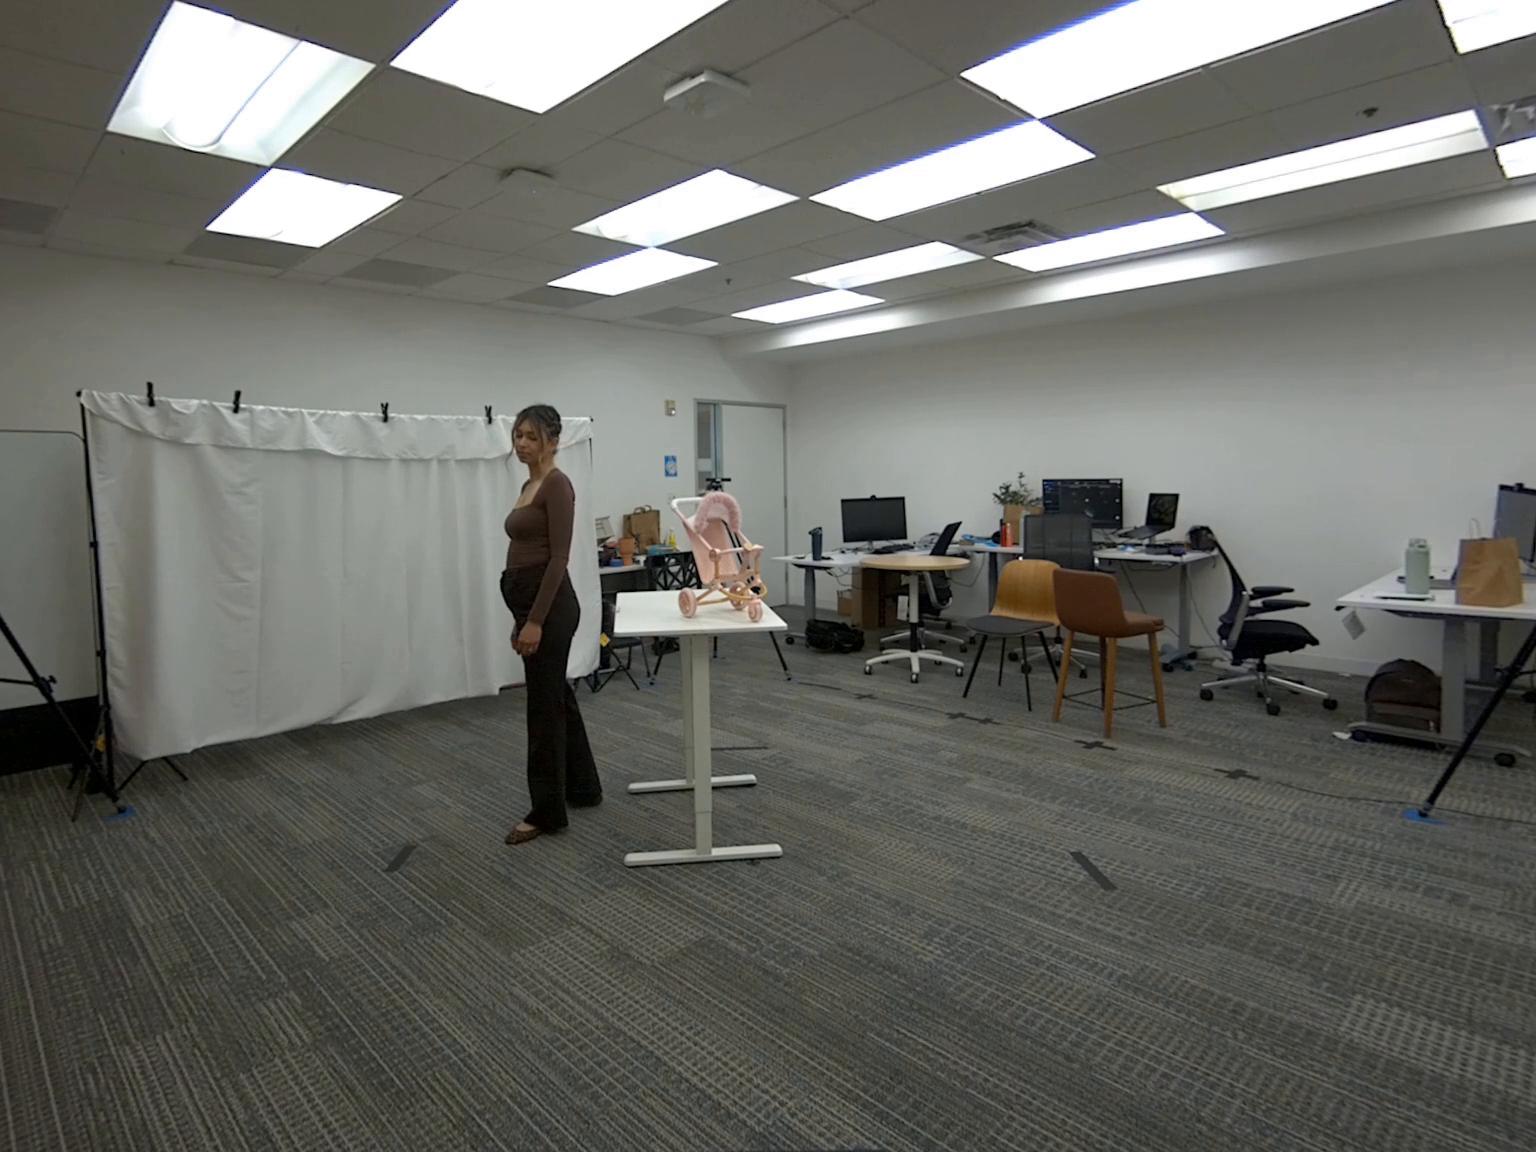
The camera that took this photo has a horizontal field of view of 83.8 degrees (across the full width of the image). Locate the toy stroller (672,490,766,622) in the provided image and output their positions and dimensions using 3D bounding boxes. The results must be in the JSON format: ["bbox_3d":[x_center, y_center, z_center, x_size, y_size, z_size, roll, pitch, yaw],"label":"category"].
[{"bbox_3d":[-0.171,-0.075,3.203,0.274,0.540,0.347,-5,-9,-35],"label":"toy stroller"}]
